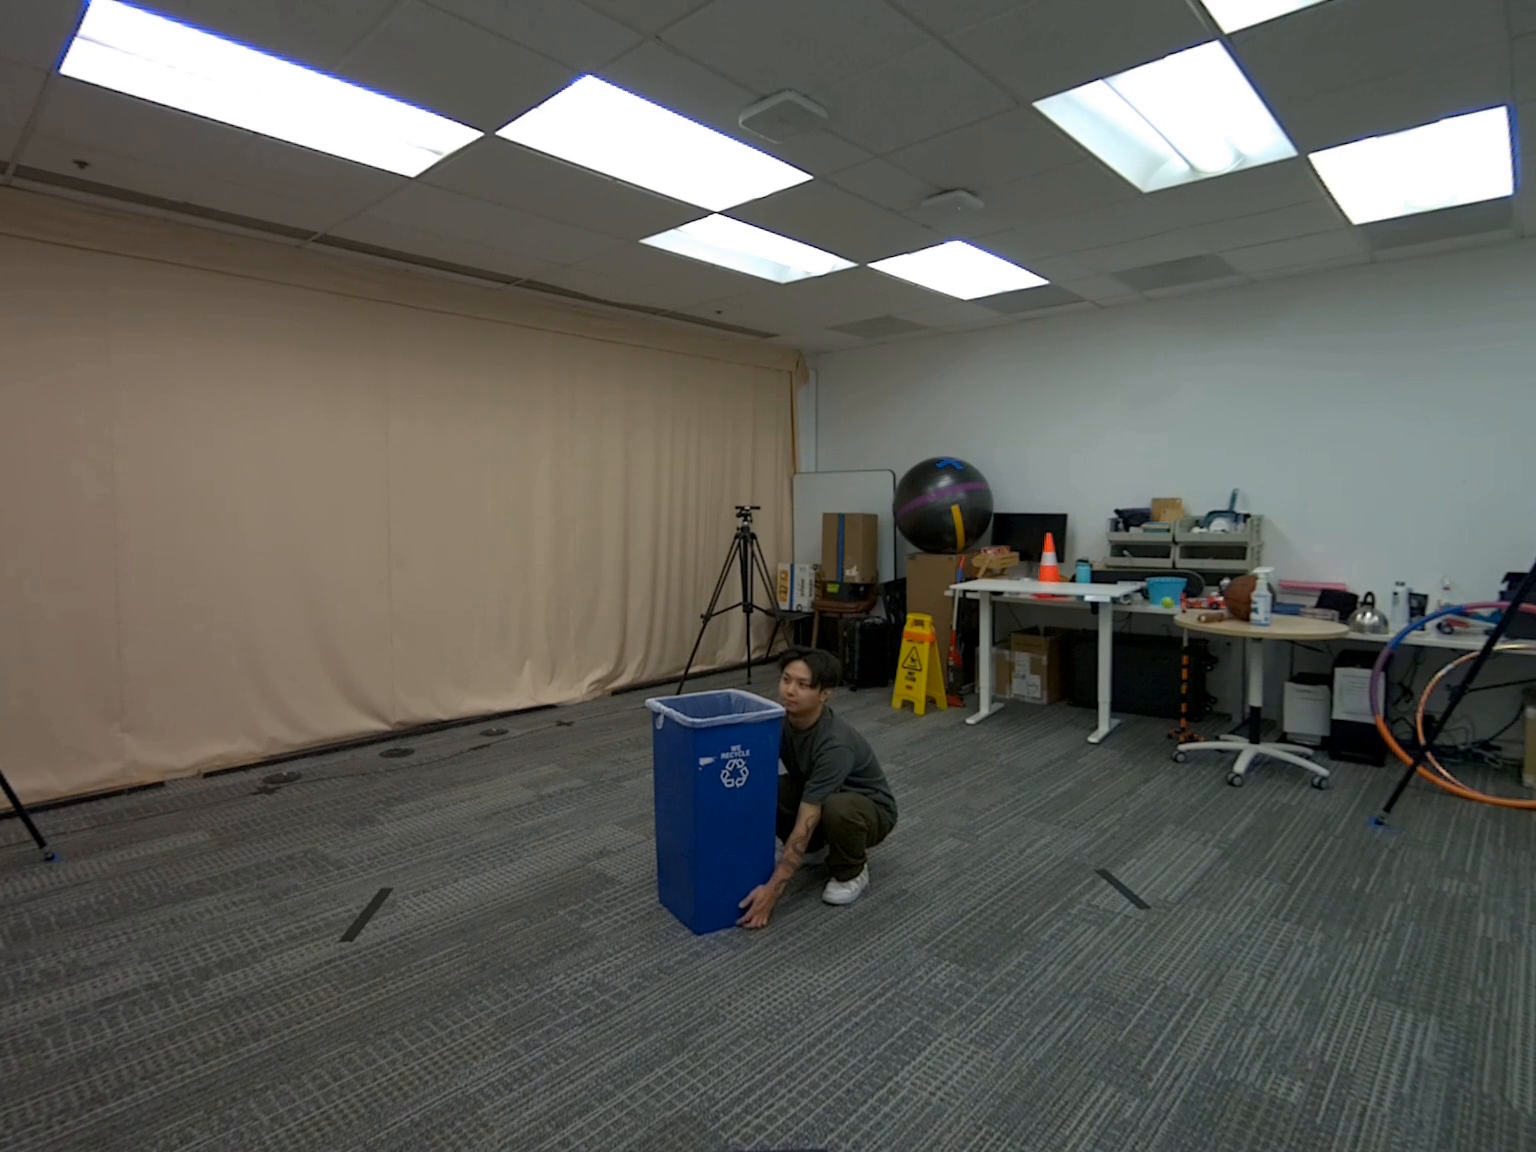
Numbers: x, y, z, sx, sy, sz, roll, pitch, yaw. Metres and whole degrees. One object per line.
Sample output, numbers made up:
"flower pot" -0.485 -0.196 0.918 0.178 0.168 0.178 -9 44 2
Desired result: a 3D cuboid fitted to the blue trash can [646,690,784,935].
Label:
"blue trash can" -0.177 0.793 2.899 0.368 0.712 0.385 -1 3 -31
